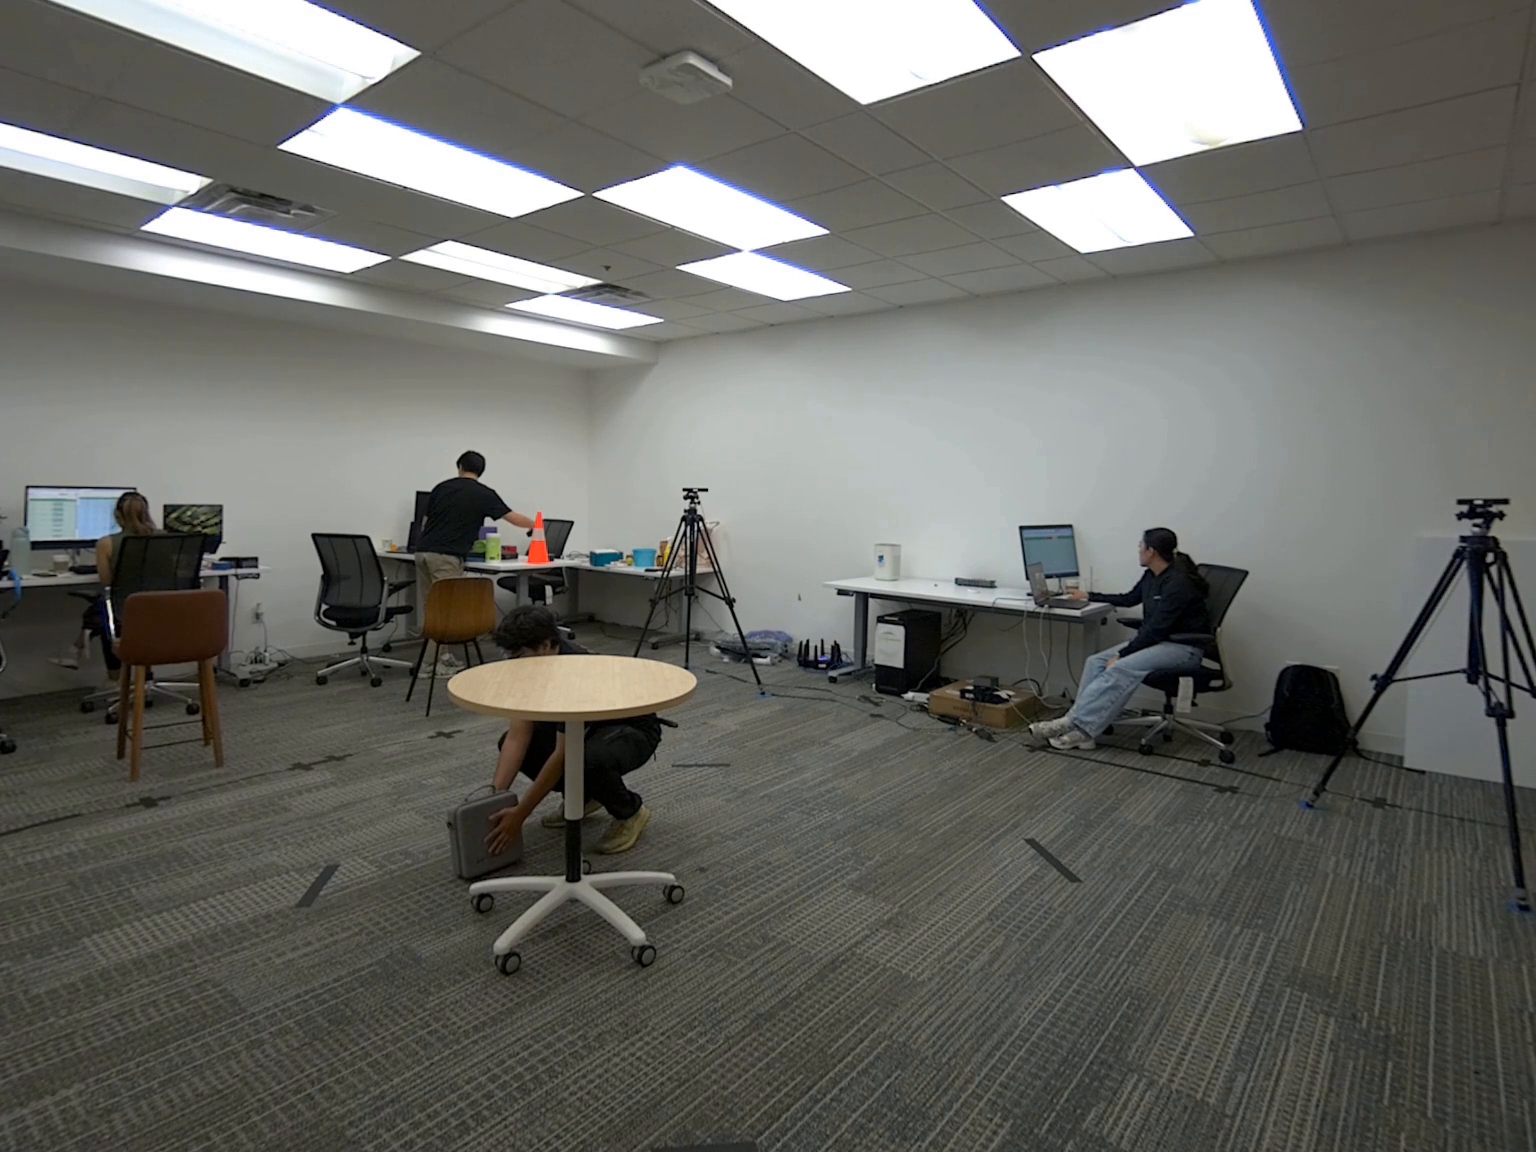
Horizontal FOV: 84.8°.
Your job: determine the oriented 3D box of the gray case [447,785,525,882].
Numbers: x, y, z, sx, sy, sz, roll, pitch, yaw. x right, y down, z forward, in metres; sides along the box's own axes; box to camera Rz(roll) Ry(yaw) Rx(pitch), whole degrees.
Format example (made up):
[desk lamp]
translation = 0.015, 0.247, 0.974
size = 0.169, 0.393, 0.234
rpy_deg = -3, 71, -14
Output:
[gray case]
translation = -1.049, 0.928, 3.096
size = 0.107, 0.262, 0.249
rpy_deg = -12, -5, 42
